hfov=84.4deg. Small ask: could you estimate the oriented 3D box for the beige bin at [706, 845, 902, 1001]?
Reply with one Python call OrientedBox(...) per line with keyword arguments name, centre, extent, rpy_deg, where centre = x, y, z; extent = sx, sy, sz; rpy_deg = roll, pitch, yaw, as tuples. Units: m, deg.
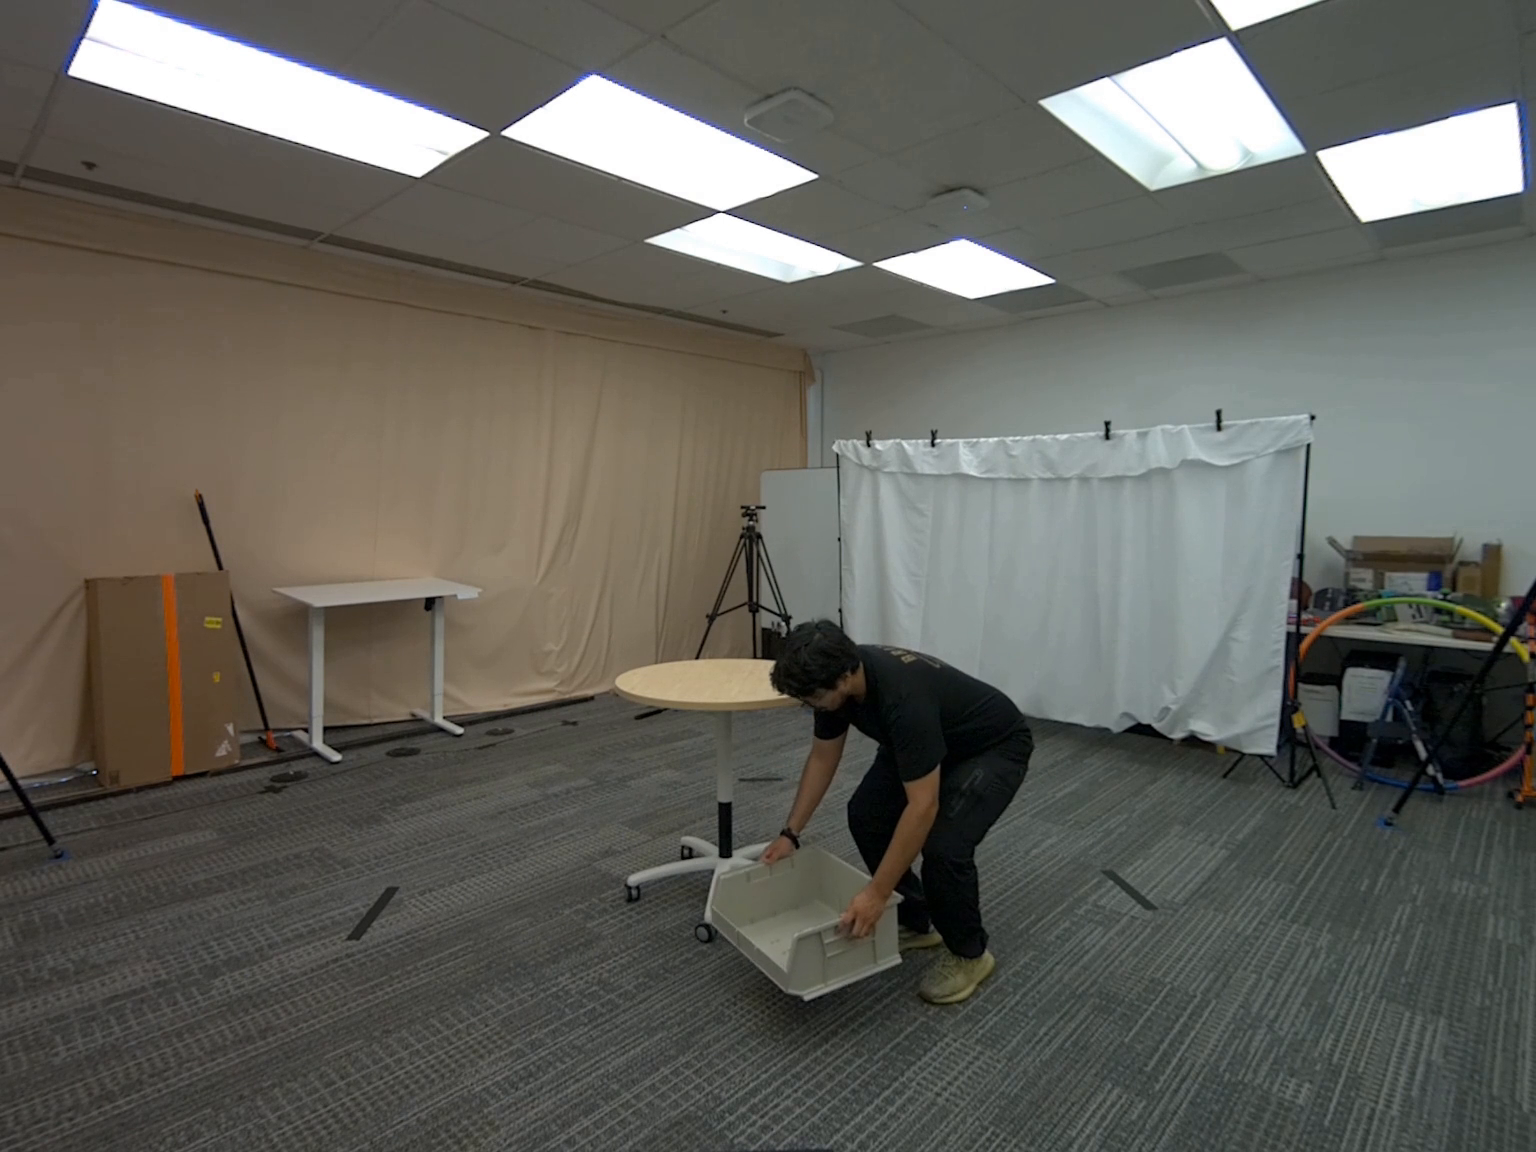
OrientedBox(name="beige bin", centre=(0.097, 0.960, 2.338), extent=(0.368, 0.188, 0.434), rpy_deg=(-6, 6, -30))
